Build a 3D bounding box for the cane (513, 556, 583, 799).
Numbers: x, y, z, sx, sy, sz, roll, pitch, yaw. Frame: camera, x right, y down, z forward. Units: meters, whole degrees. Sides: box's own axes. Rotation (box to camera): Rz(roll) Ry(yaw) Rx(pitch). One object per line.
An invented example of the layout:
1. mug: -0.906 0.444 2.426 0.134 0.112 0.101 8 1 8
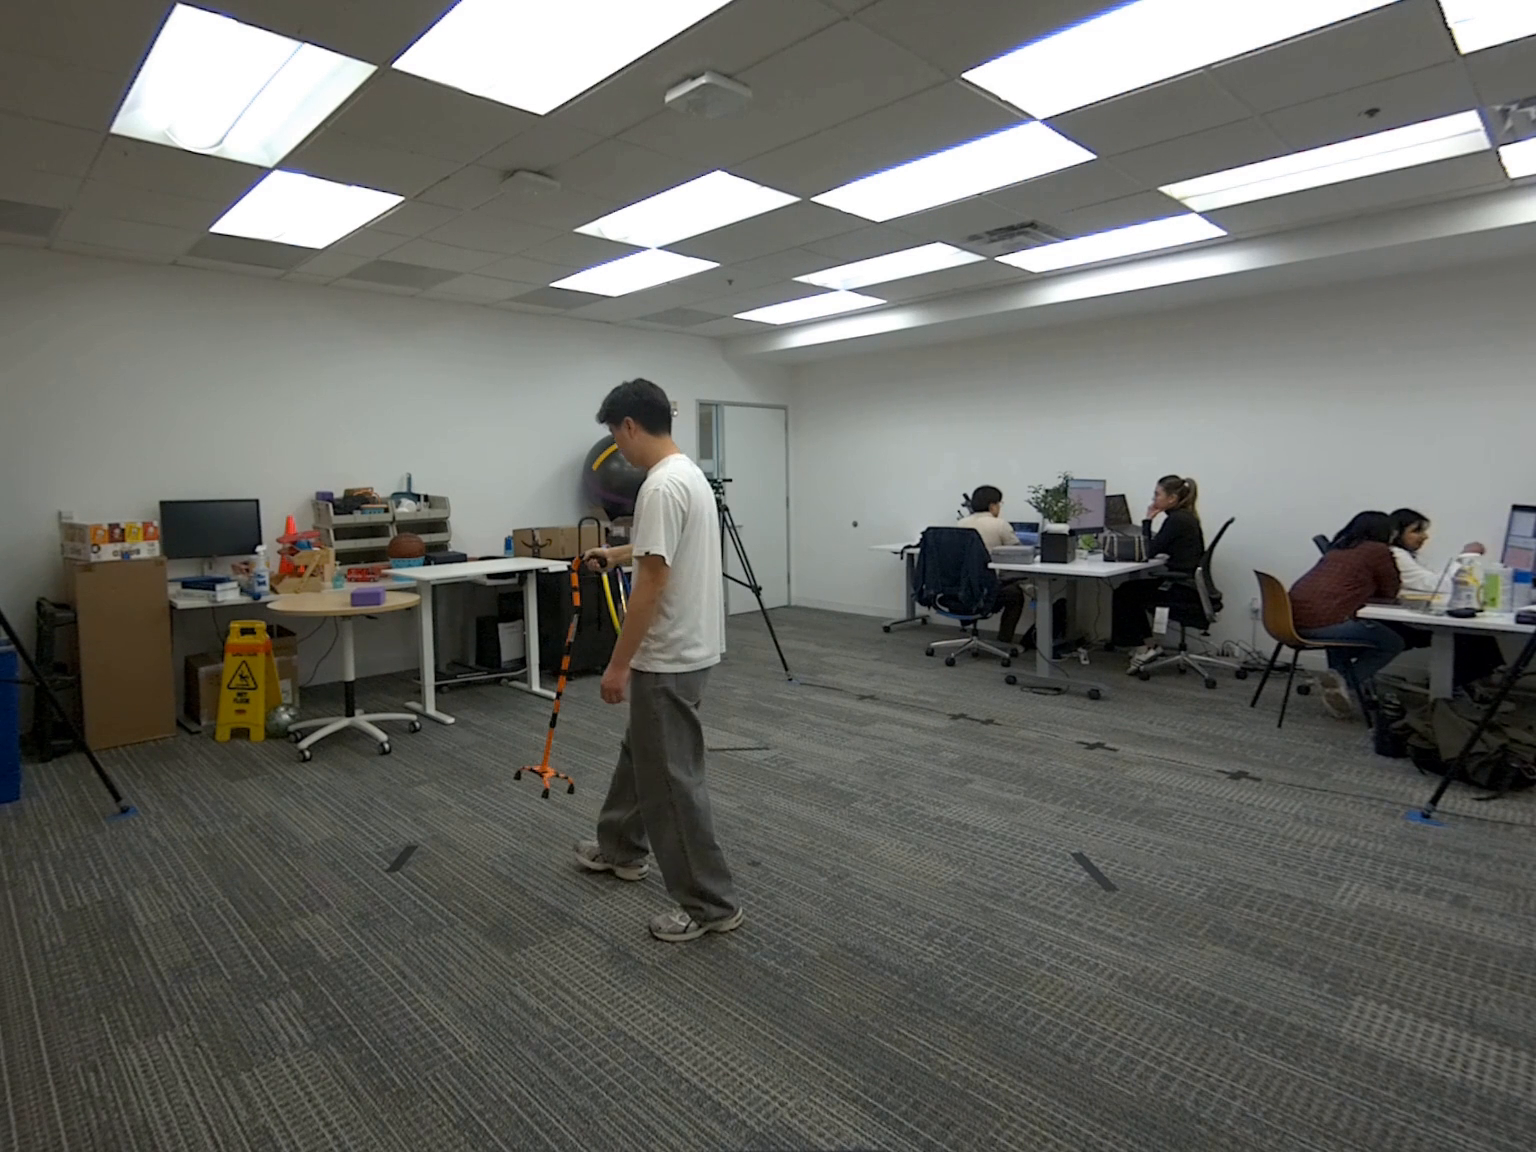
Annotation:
1. cane: -0.753 0.372 3.243 0.214 0.906 0.147 14 4 41
